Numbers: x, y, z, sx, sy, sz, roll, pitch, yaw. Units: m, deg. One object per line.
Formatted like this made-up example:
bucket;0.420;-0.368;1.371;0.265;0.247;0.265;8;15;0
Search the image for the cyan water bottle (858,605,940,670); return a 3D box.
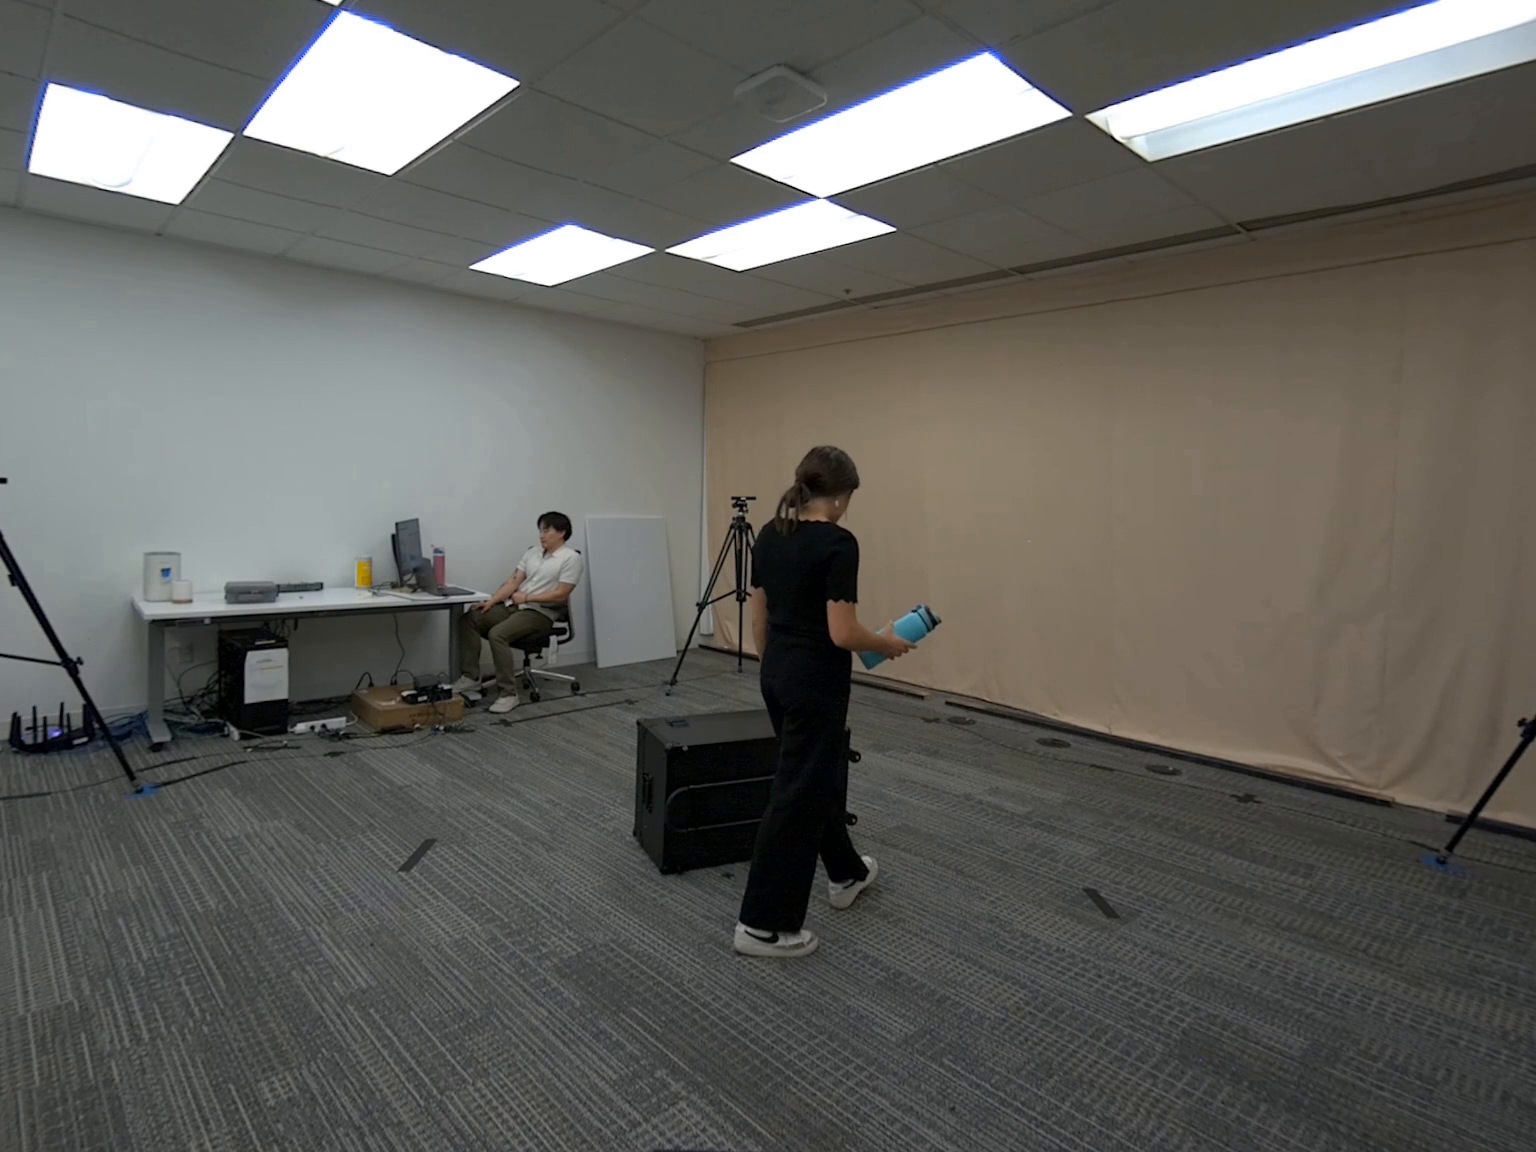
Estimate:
cyan water bottle;0.414;0.192;2.688;0.283;0.092;0.093;-31;5;1
